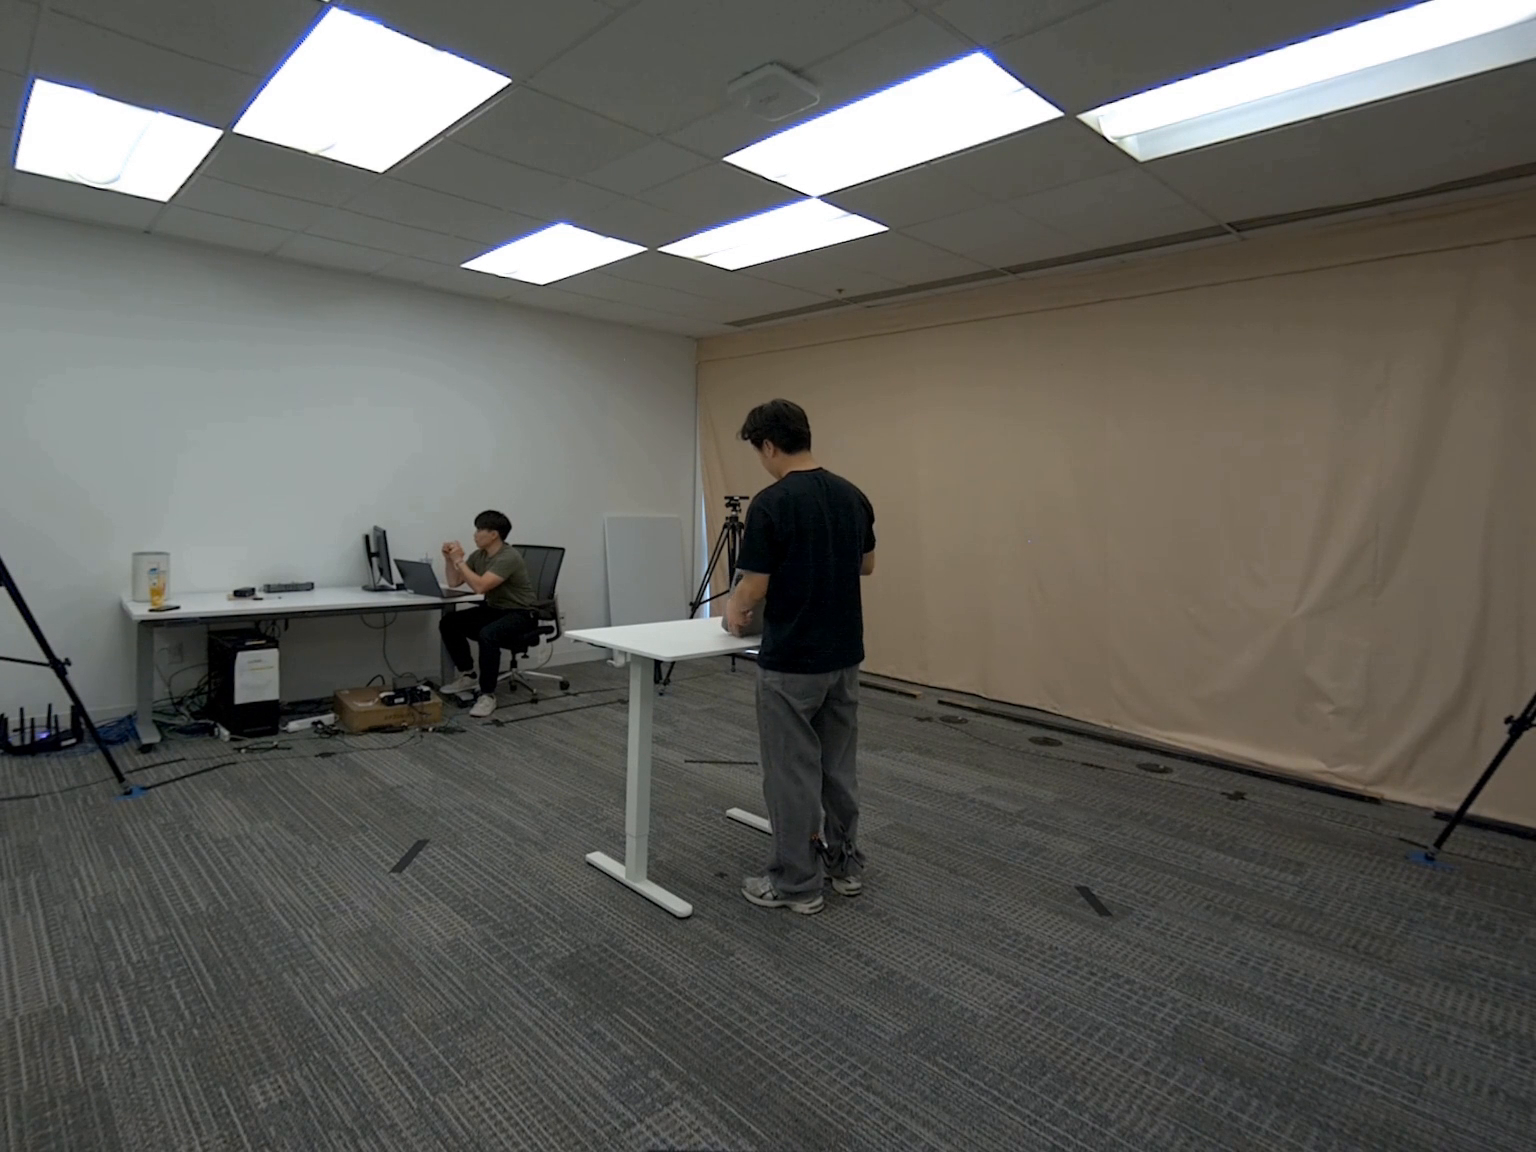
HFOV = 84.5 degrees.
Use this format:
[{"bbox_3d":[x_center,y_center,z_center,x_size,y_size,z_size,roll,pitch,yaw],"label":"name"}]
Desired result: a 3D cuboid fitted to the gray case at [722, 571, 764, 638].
[{"bbox_3d":[-0.037,0.097,3.156,0.107,0.255,0.255,20,15,32],"label":"gray case"}]
